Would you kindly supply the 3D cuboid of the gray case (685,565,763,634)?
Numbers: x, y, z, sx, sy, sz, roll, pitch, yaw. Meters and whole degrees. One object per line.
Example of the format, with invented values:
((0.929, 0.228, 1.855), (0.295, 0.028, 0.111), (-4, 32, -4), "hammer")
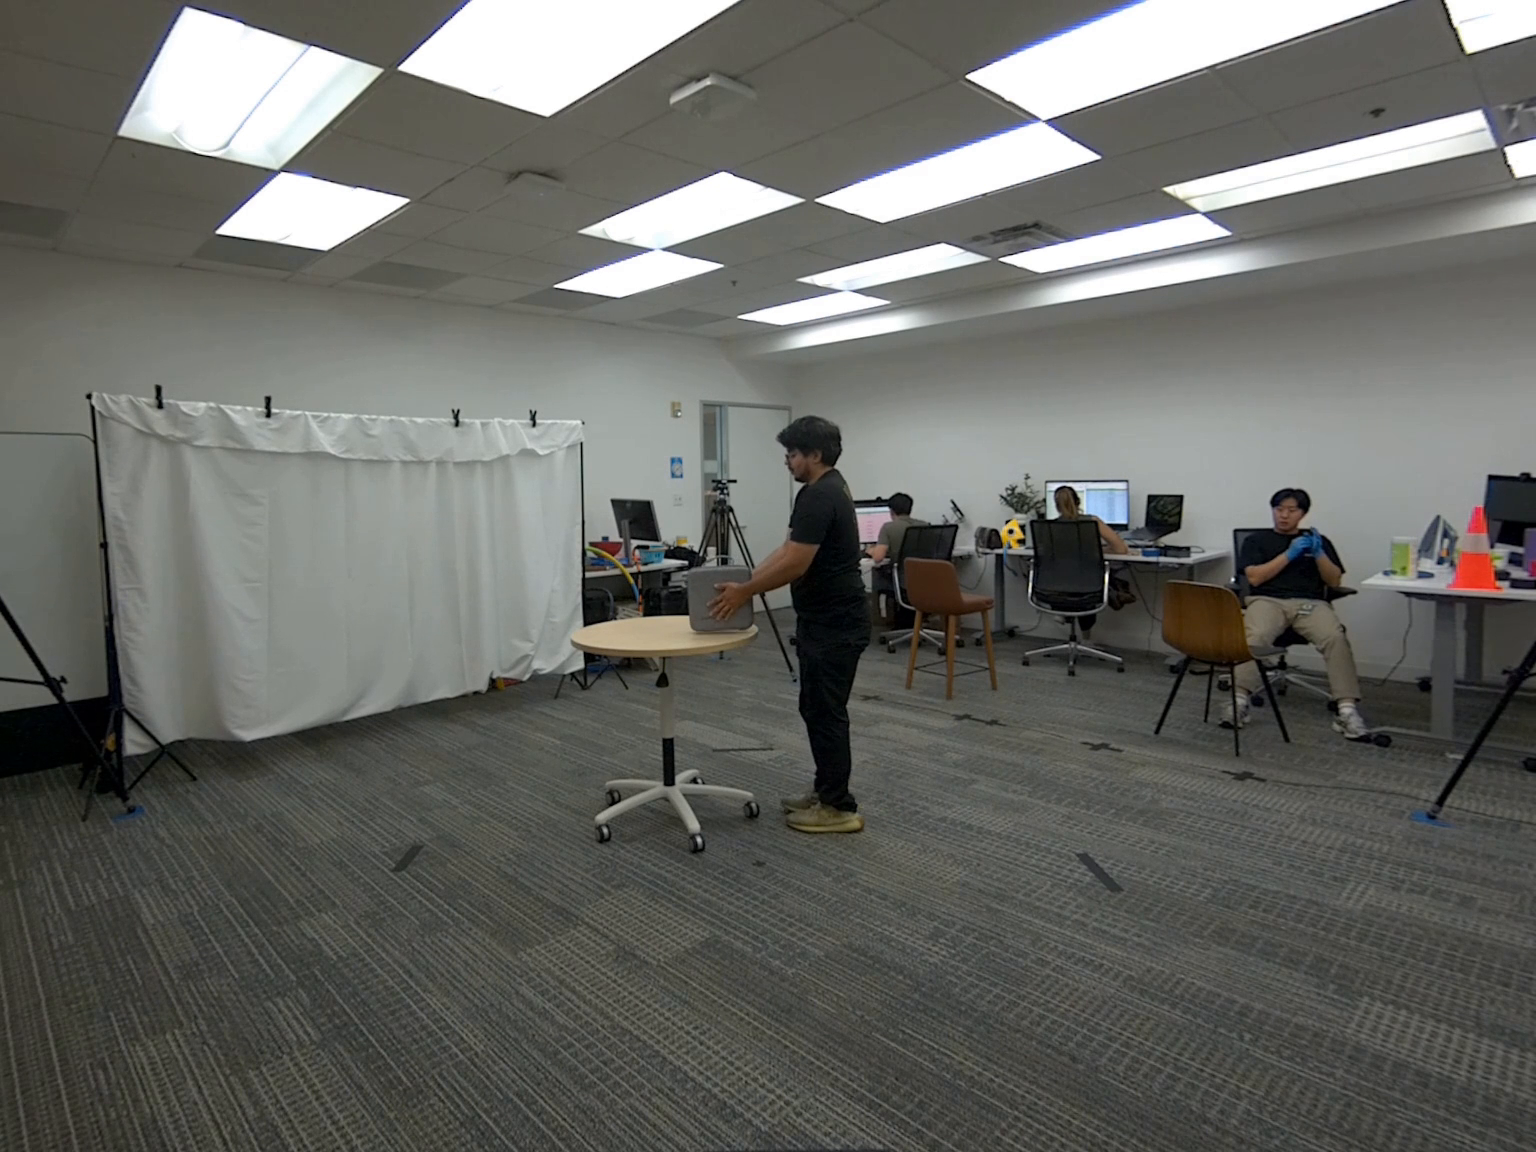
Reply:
((-0.192, 0.084, 3.447), (0.257, 0.261, 0.104), (-3, 0, 1), "gray case")
